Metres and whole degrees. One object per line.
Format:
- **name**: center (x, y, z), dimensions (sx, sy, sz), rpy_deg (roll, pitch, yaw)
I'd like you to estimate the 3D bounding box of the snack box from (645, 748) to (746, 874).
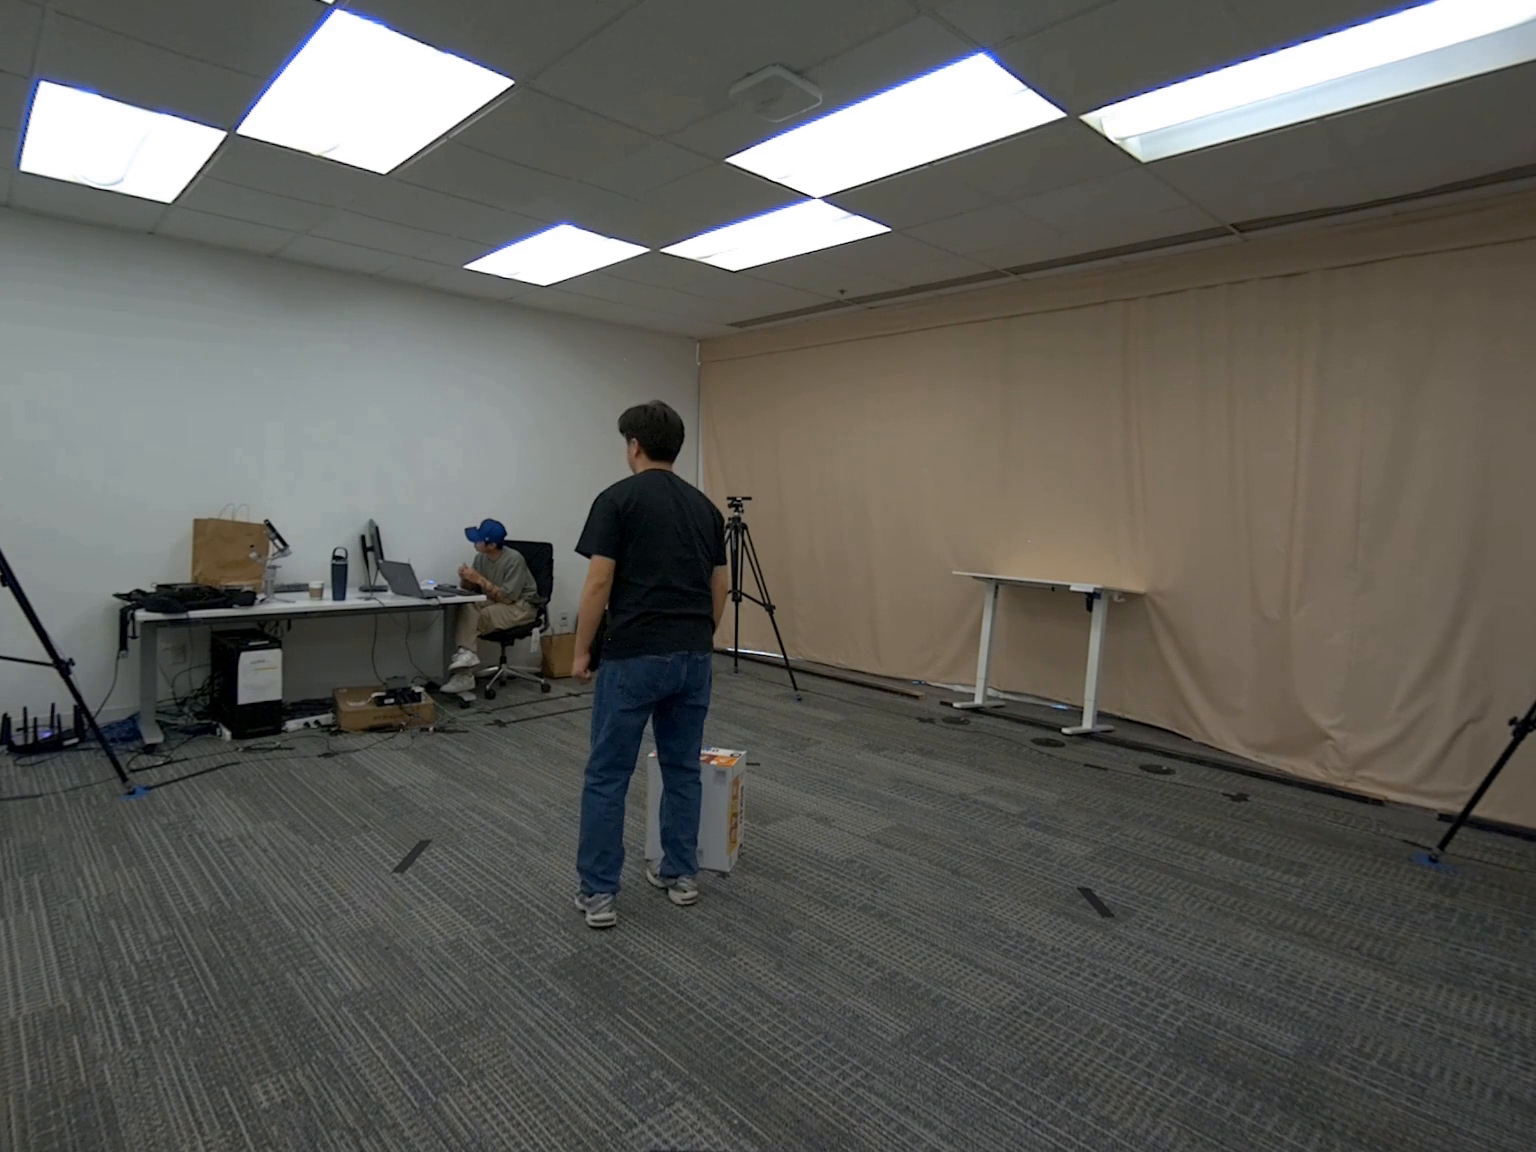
- **snack box**: center (-0.283, 0.885, 3.253), dimensions (0.345, 0.404, 0.203), rpy_deg (3, 3, 16)
